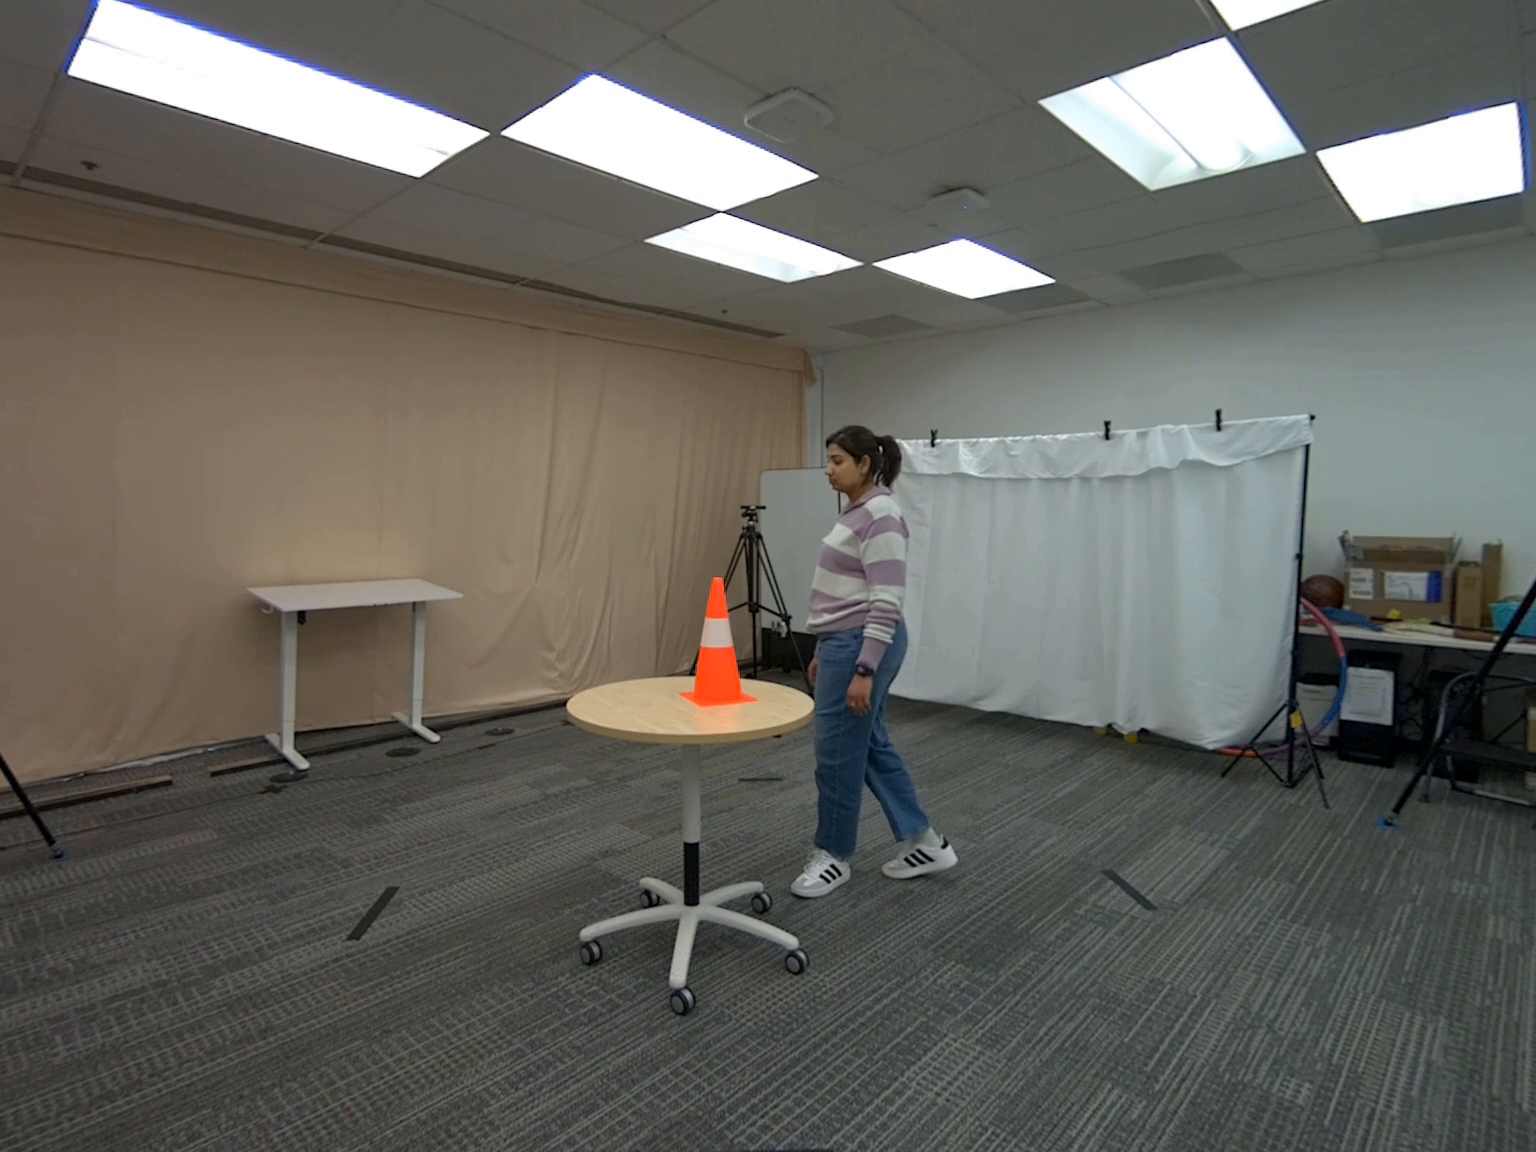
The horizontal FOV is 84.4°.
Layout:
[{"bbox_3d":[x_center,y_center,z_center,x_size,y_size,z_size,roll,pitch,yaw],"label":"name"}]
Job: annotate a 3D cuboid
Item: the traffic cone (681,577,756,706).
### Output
[{"bbox_3d":[-0.160,0.200,2.668,0.199,0.383,0.209,-4,3,-34],"label":"traffic cone"}]
